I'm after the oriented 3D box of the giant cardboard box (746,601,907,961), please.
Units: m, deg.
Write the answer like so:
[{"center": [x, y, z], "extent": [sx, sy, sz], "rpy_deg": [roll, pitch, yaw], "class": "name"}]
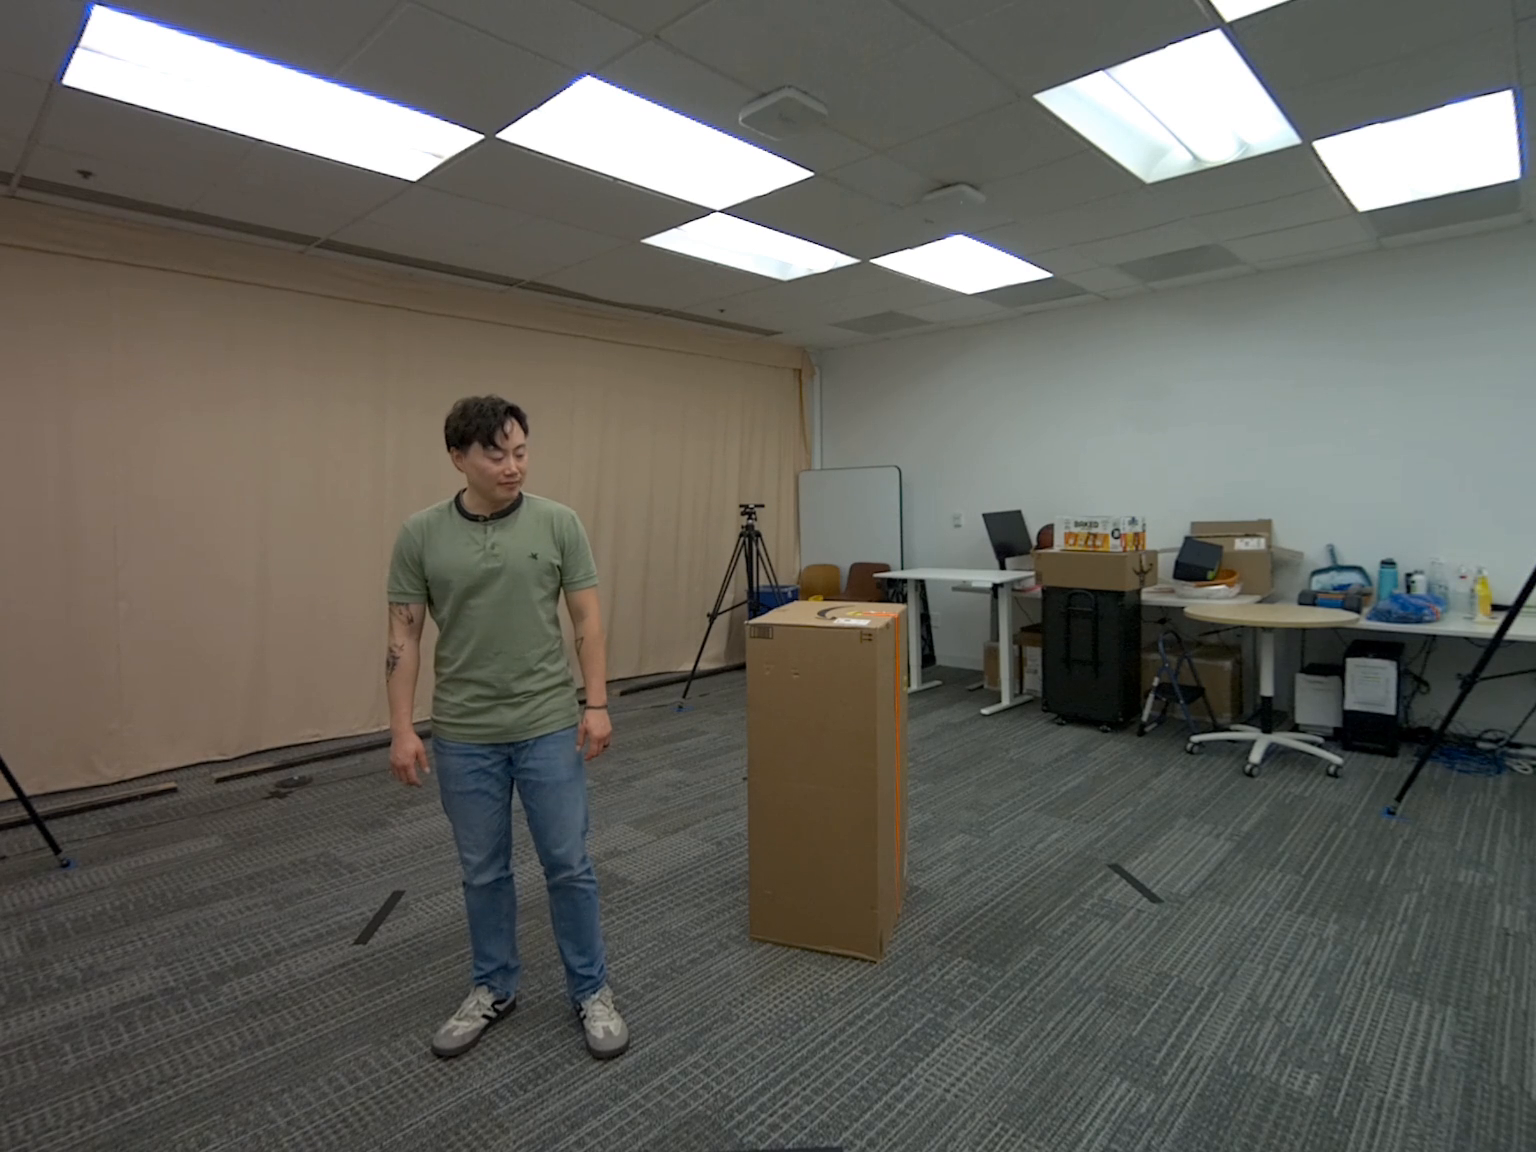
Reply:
[{"center": [0.227, 0.634, 2.858], "extent": [0.436, 1.023, 0.566], "rpy_deg": [1, 4, 21], "class": "giant cardboard box"}]
